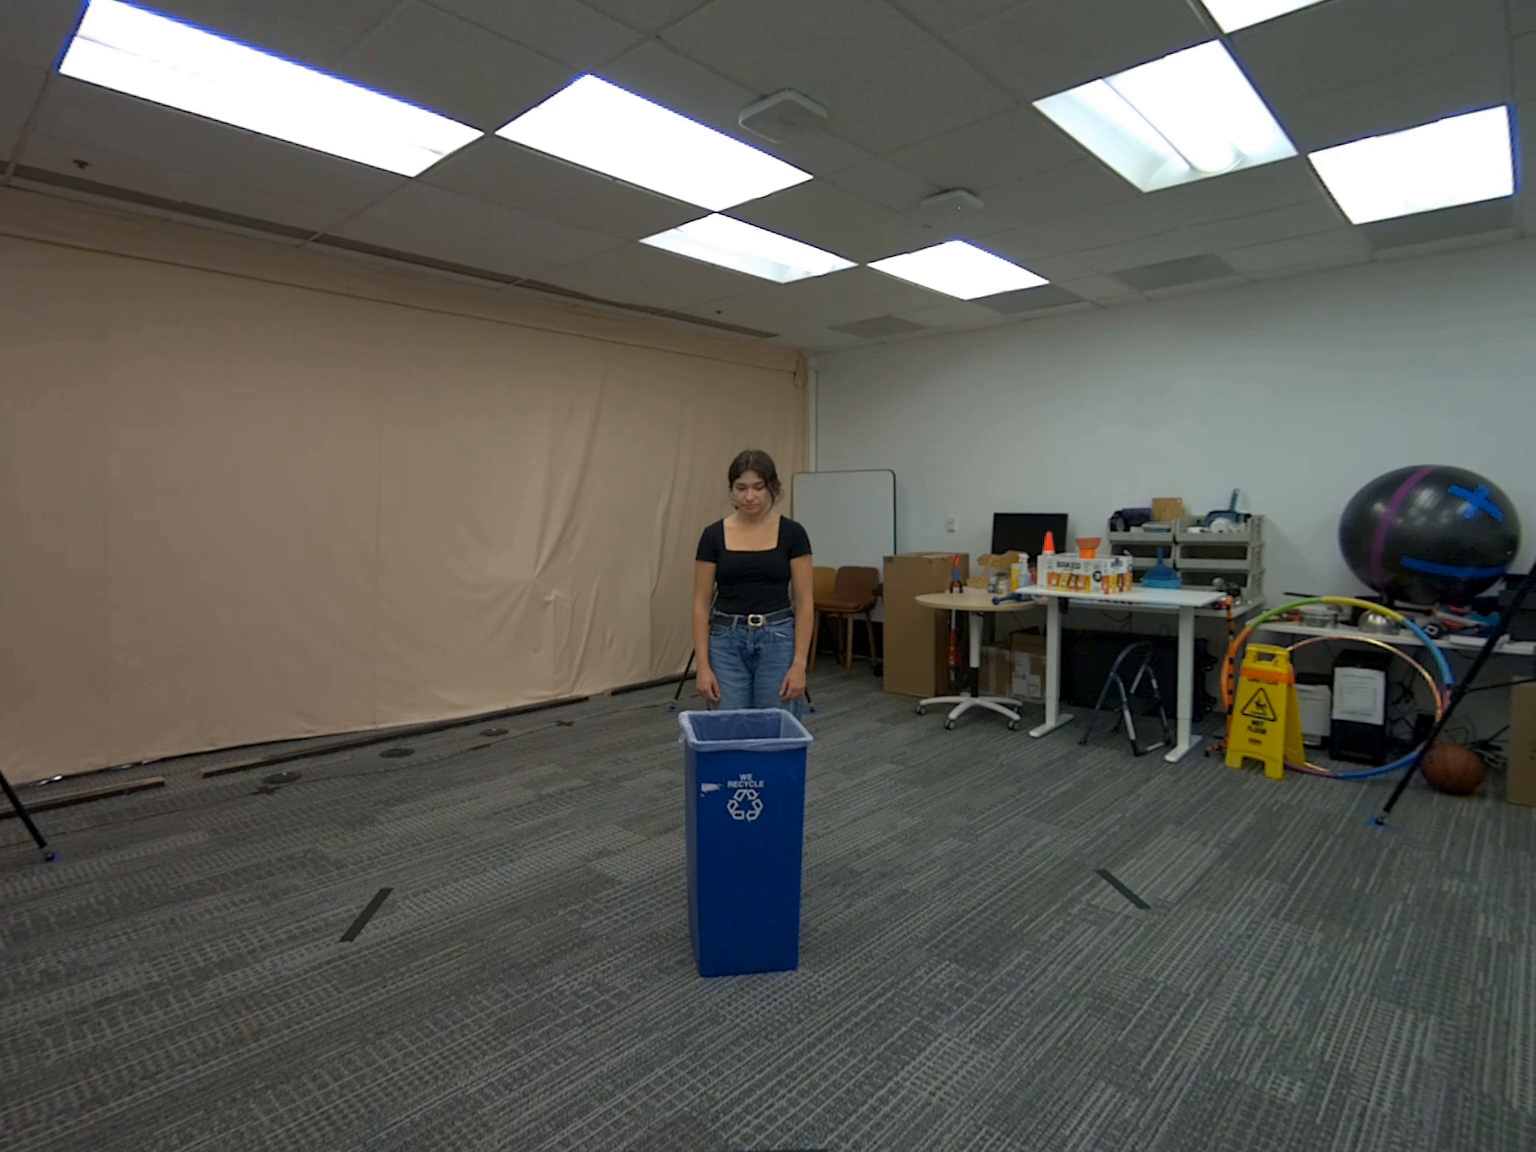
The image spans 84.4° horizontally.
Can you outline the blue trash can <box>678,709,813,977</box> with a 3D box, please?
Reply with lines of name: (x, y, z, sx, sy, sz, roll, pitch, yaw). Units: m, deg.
blue trash can: (-0.081, 0.815, 2.639, 0.370, 0.712, 0.383, -1, 4, -11)
